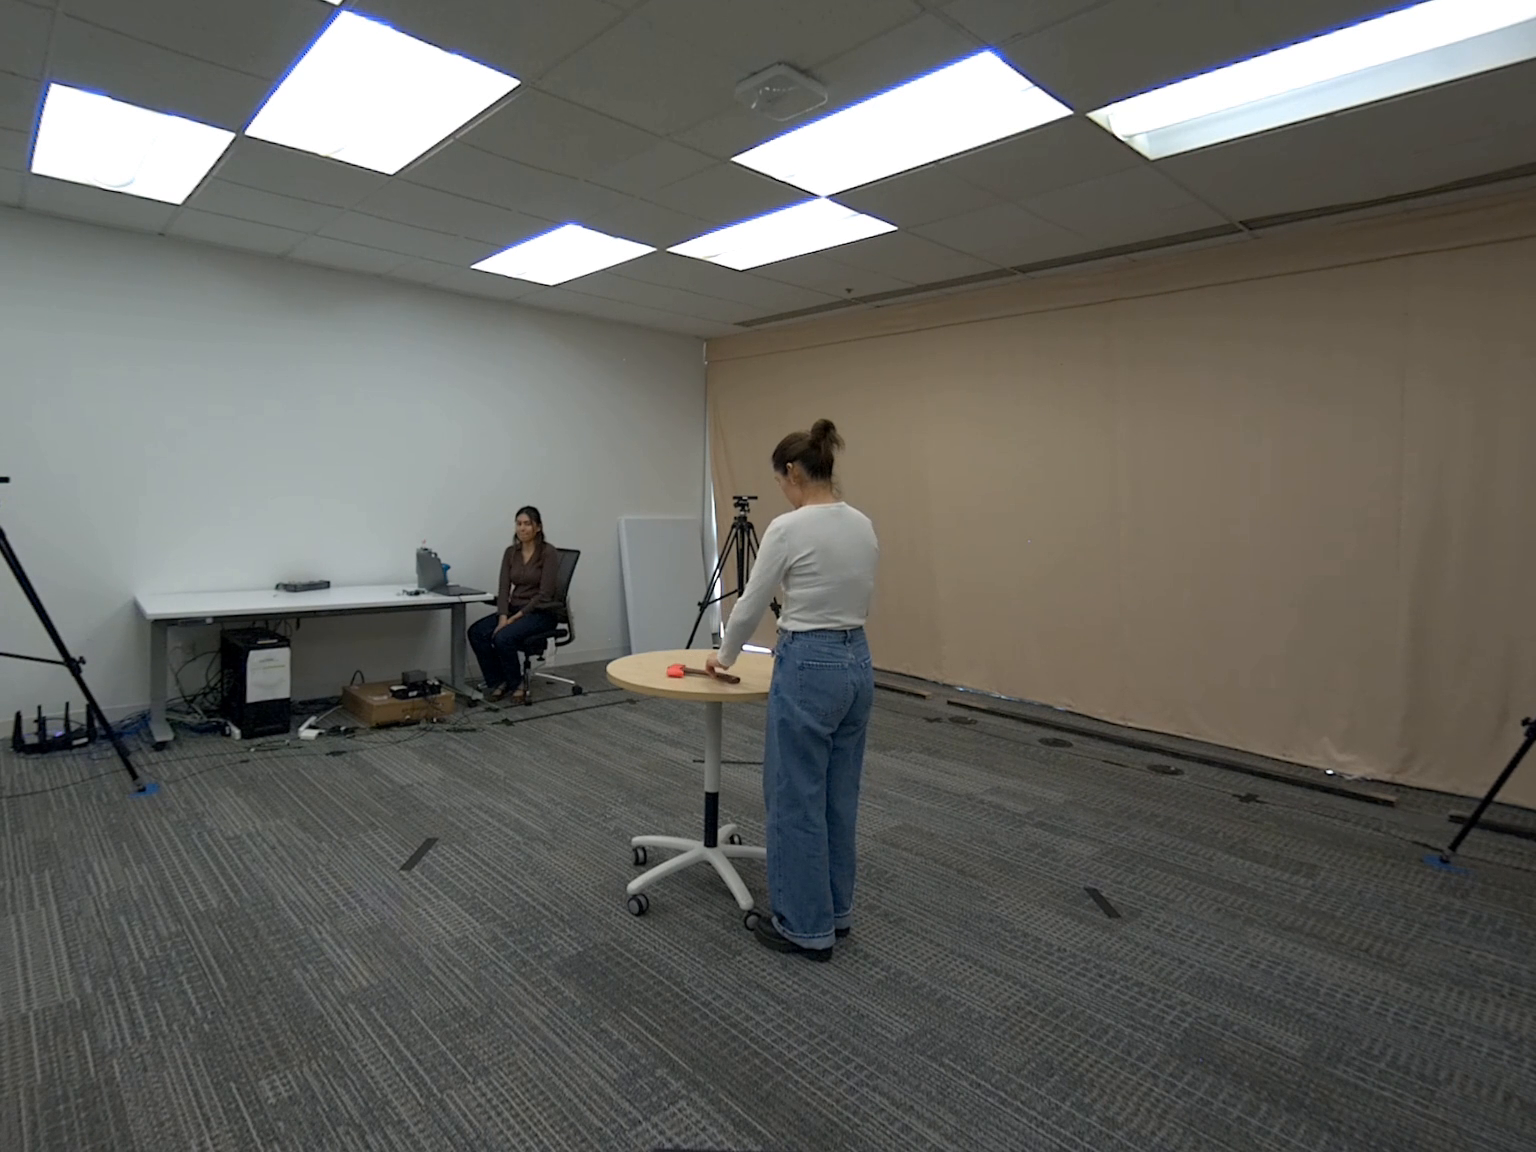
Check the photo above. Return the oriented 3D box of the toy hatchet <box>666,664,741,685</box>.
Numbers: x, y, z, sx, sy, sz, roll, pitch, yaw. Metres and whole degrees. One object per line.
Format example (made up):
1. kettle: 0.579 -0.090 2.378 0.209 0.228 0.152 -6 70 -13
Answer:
1. toy hatchet: -0.232 0.330 2.806 0.277 0.029 0.128 6 6 38
